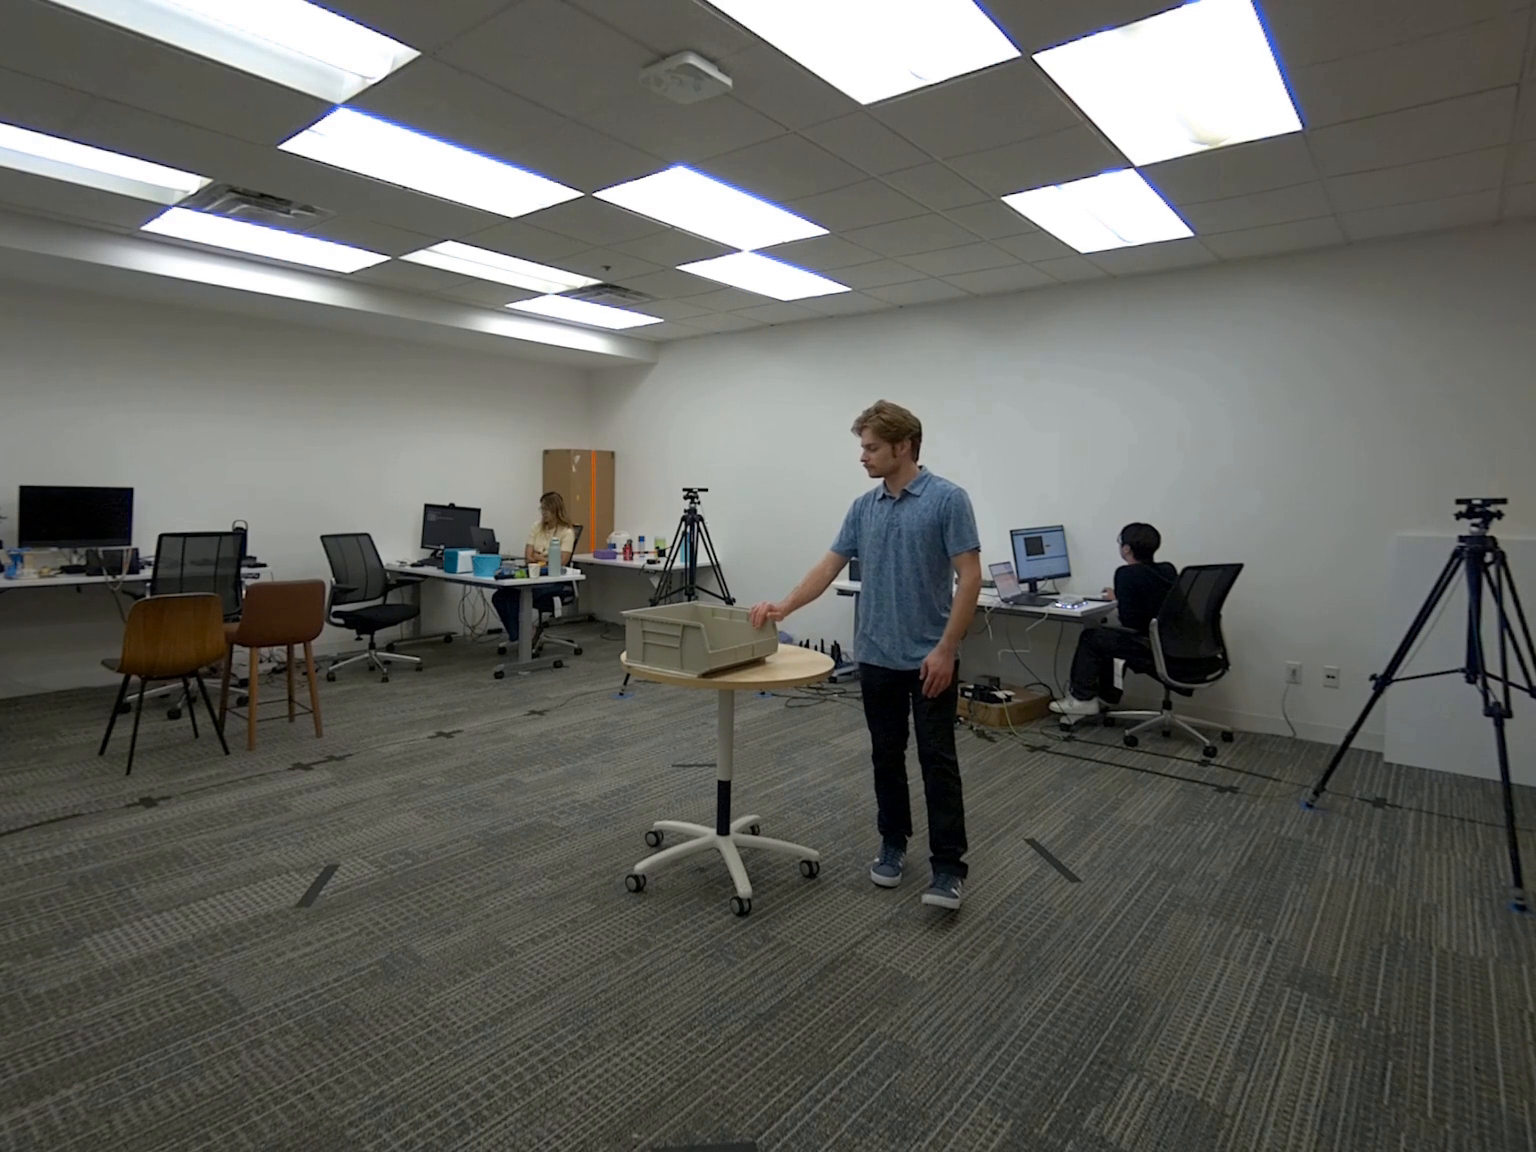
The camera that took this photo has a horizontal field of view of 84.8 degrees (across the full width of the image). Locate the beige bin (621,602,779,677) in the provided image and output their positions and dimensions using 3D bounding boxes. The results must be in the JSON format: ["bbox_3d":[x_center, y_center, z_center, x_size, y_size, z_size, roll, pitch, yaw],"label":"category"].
[{"bbox_3d":[-0.239,0.208,2.942,0.389,0.188,0.411,2,5,34],"label":"beige bin"}]
